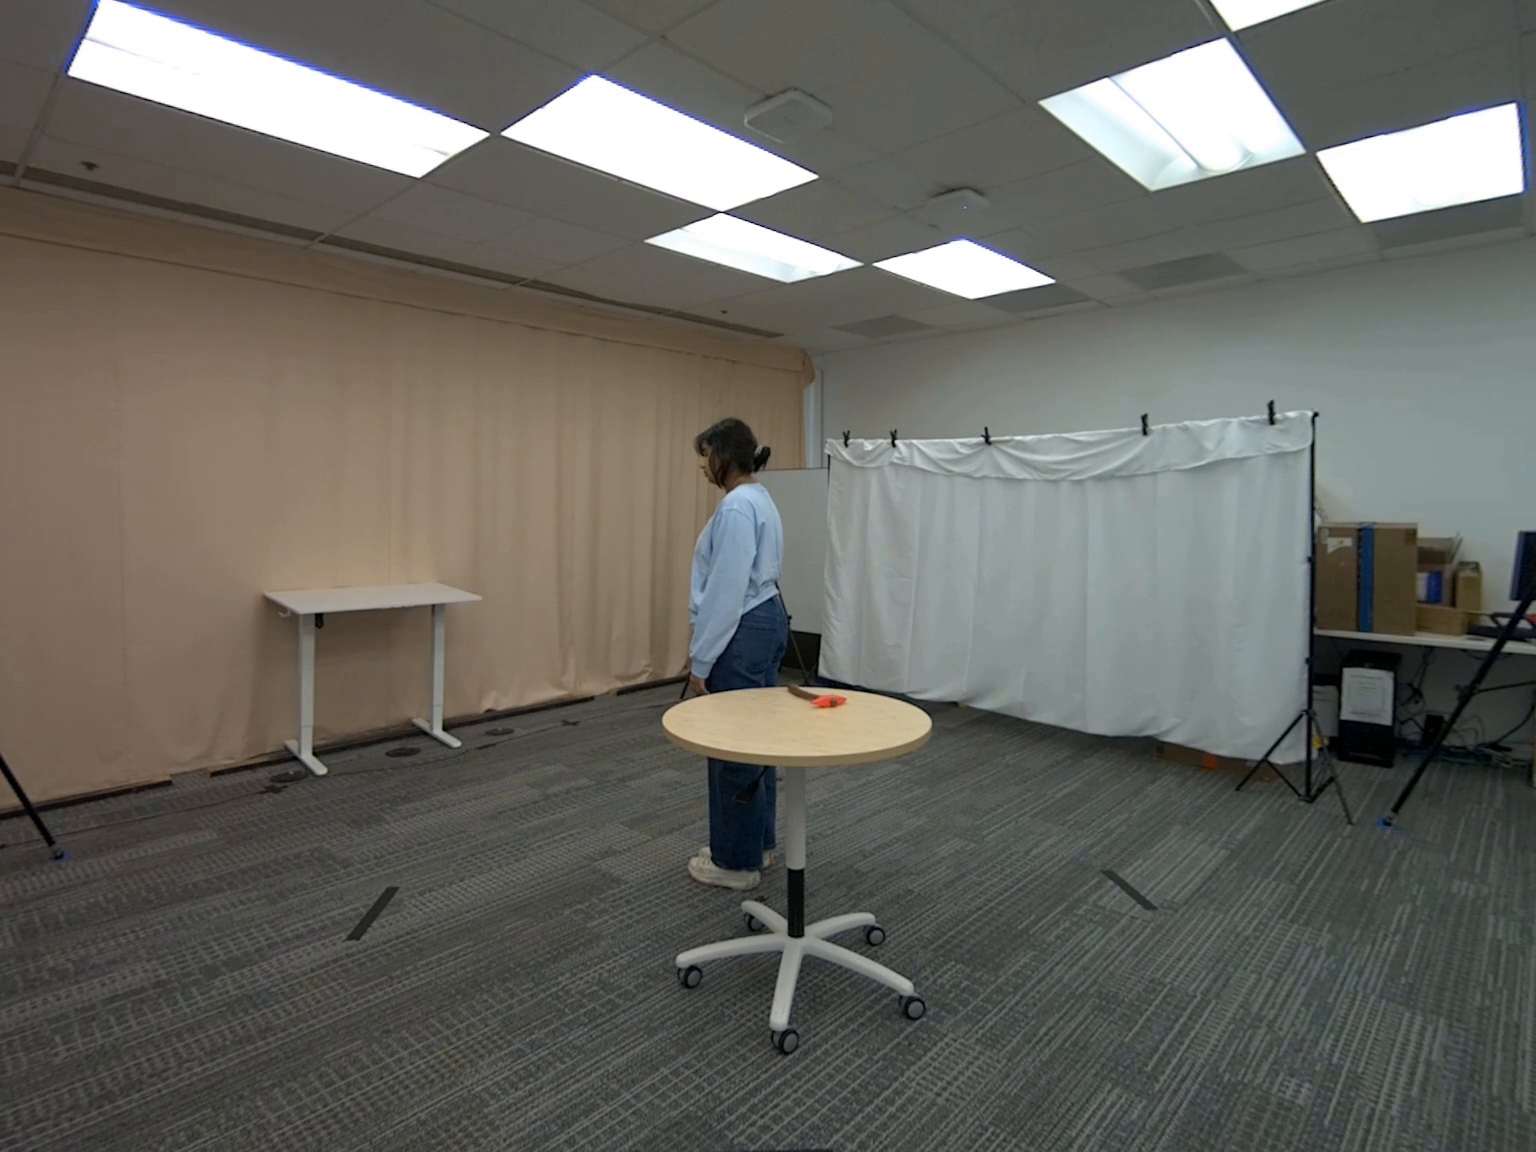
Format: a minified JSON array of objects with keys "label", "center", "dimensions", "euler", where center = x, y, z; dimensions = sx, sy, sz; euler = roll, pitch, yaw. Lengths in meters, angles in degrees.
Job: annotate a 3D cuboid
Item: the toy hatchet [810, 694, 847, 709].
[{"label":"toy hatchet","center":[0.174,0.372,2.655],"dimensions":[0.129,0.029,0.274],"euler":[-2,4,-13]}]
